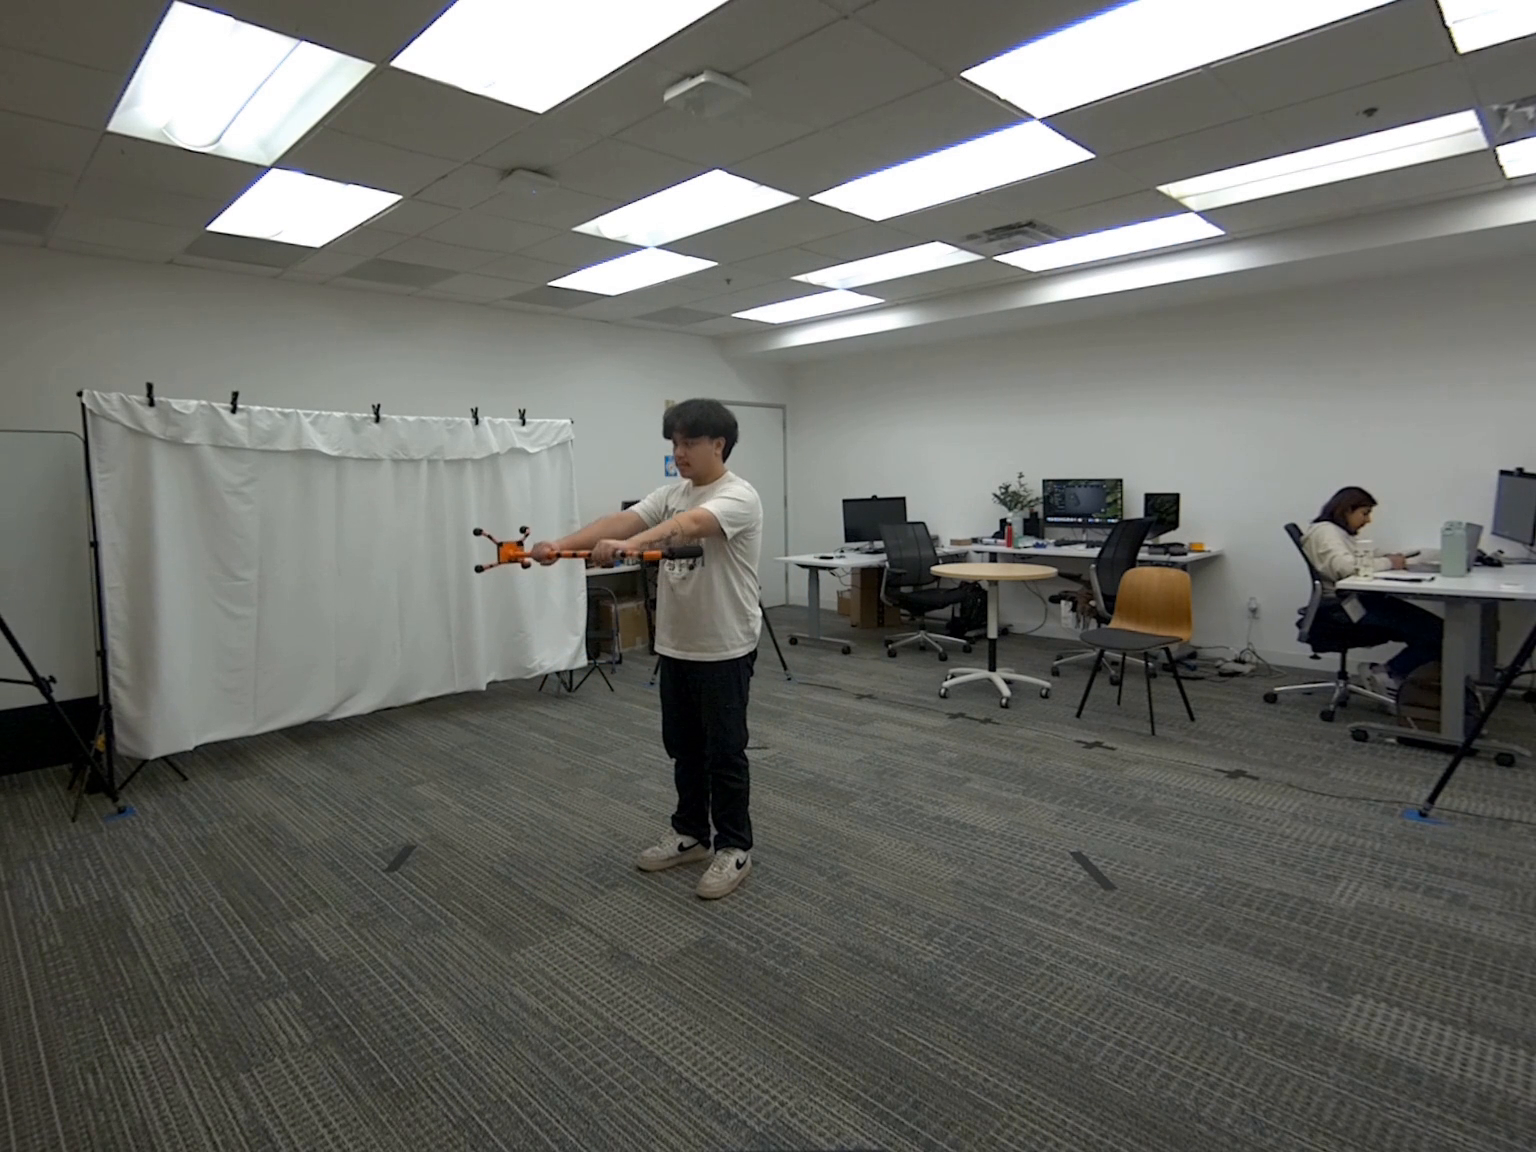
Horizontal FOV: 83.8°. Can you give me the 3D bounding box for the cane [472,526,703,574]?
[{"bbox_3d":[-0.573,-0.086,2.577,0.935,0.151,0.201,2,6,45],"label":"cane"}]
